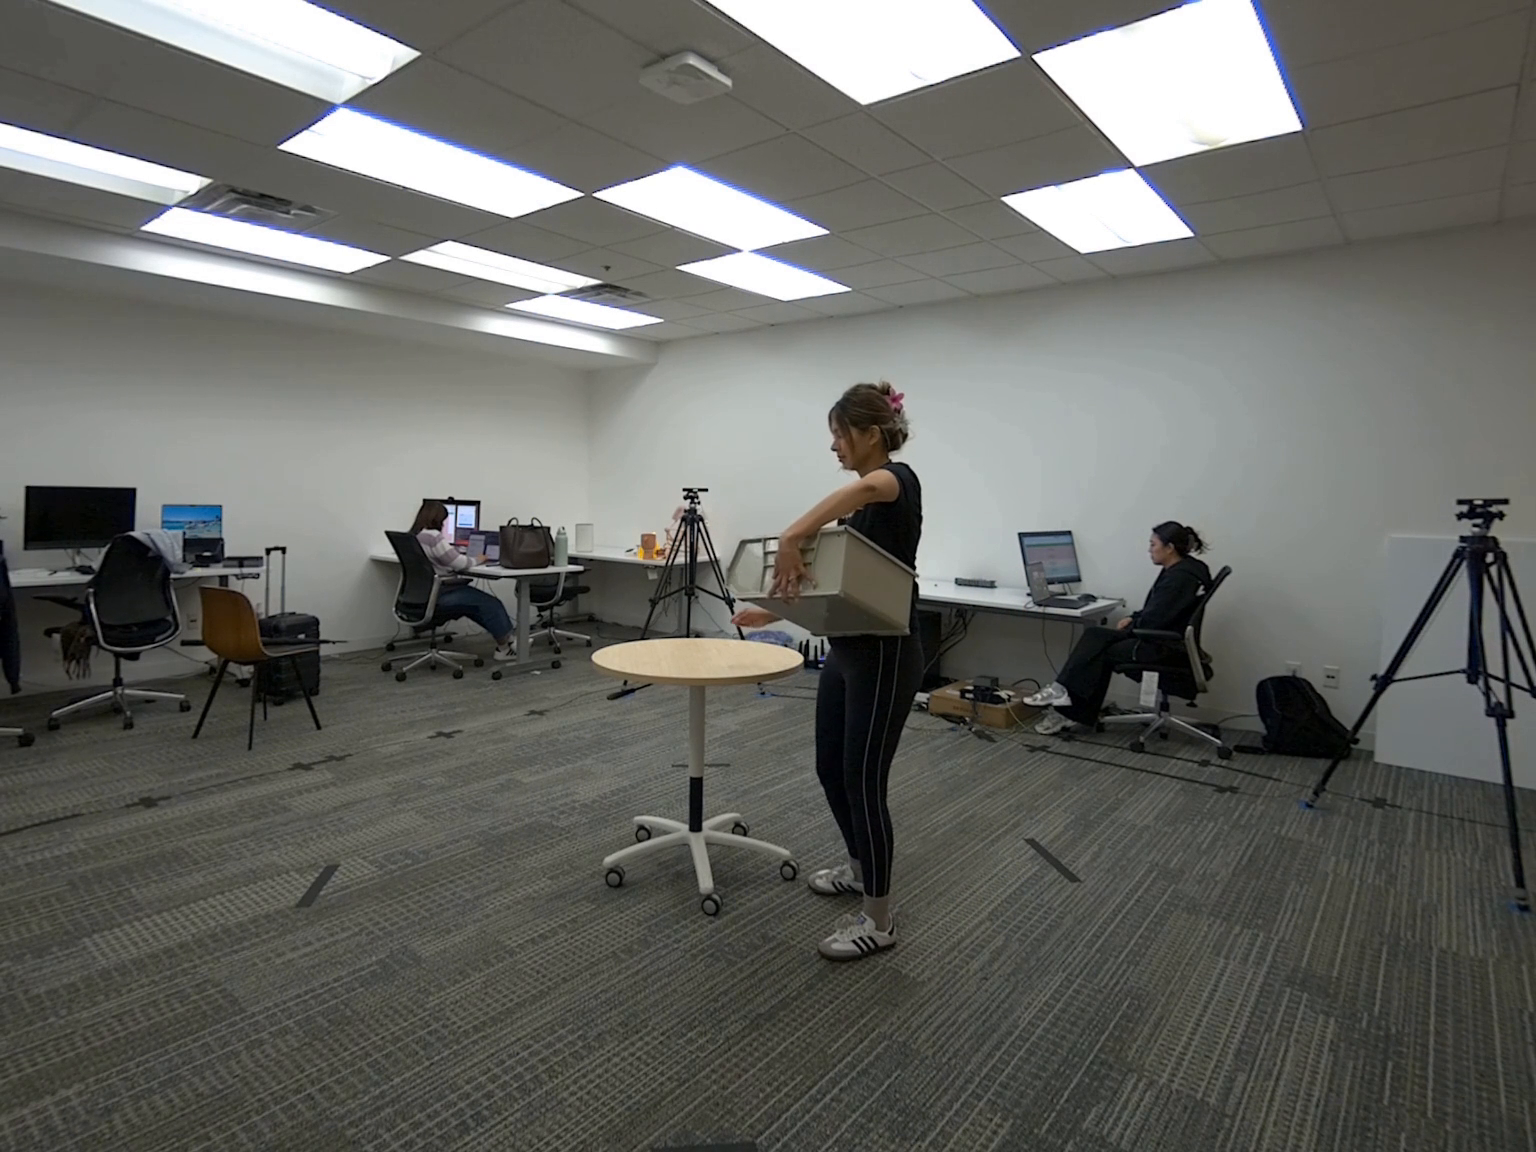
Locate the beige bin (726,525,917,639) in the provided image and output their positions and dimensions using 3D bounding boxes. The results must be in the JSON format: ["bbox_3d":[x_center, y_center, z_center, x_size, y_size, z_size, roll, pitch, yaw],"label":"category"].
[{"bbox_3d":[0.145,0.031,2.385,0.388,0.191,0.405,-3,-20,37],"label":"beige bin"}]
